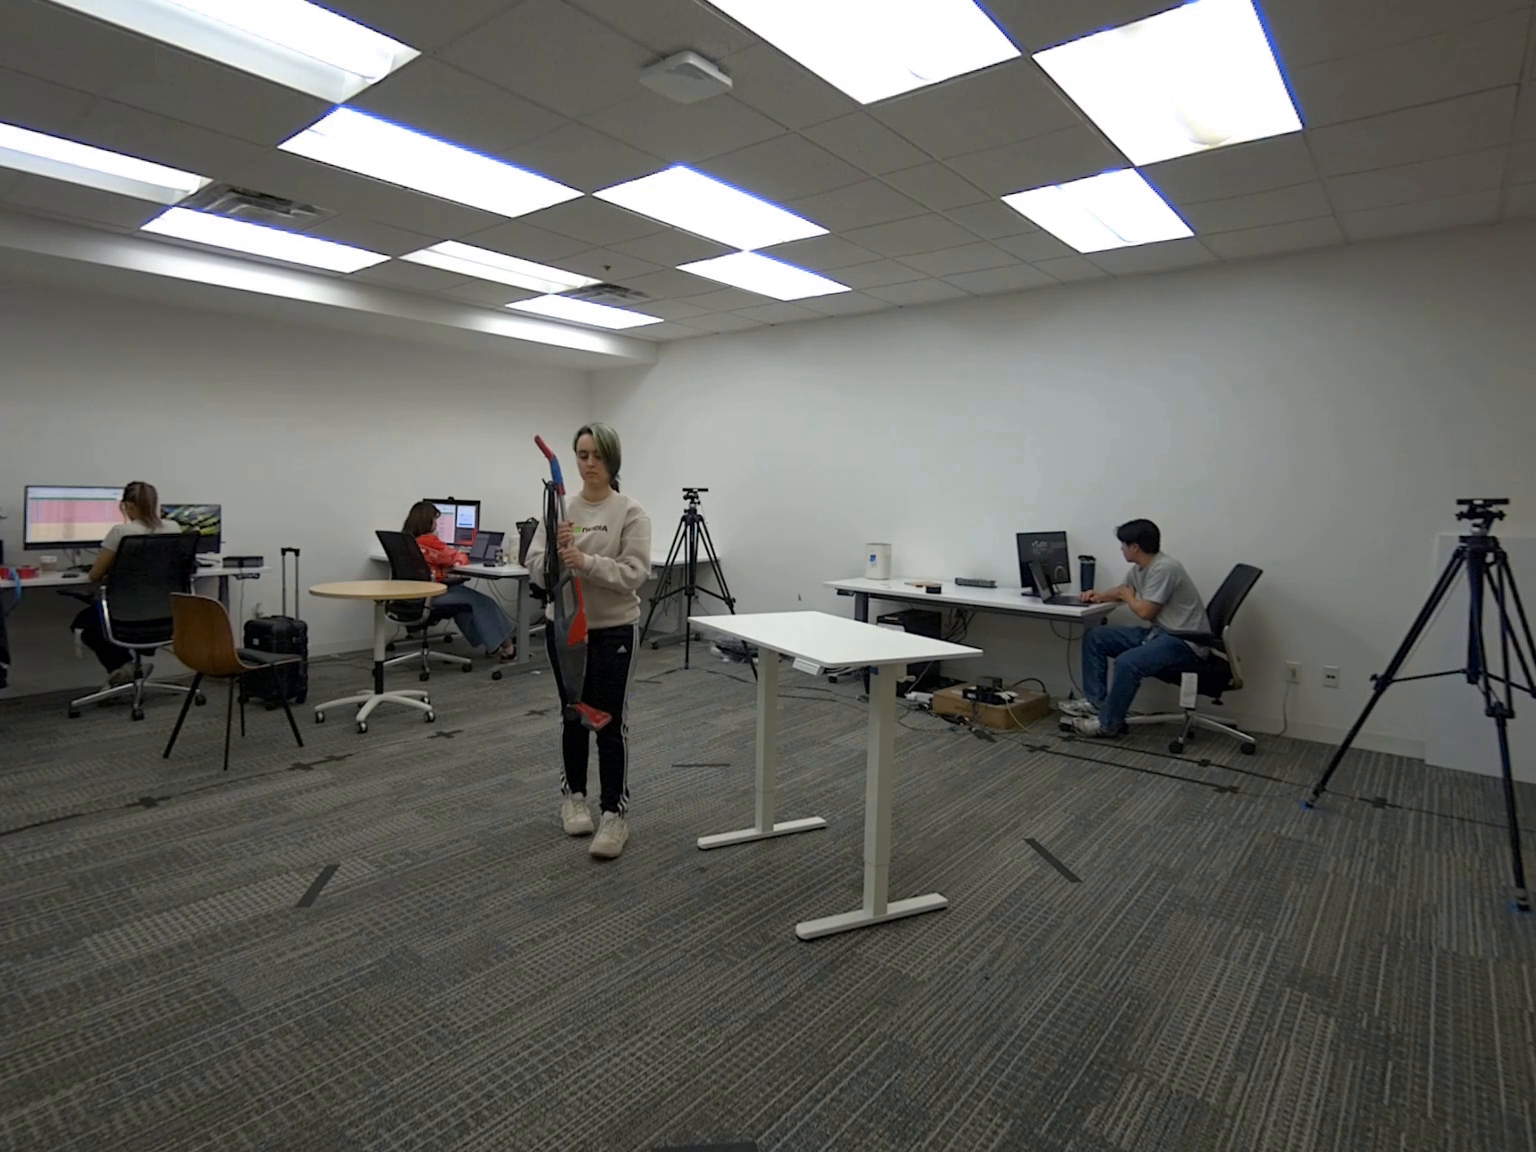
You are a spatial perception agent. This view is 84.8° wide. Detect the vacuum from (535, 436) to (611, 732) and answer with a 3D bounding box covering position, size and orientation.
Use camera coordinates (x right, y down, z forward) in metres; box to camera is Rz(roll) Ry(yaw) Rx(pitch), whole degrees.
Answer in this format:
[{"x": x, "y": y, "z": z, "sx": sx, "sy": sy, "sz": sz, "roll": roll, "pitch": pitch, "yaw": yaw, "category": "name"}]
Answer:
[{"x": -0.771, "y": 0.003, "z": 3.118, "sx": 0.144, "sy": 1.055, "sz": 0.251, "roll": -11, "pitch": -5, "yaw": -1, "category": "vacuum"}]
